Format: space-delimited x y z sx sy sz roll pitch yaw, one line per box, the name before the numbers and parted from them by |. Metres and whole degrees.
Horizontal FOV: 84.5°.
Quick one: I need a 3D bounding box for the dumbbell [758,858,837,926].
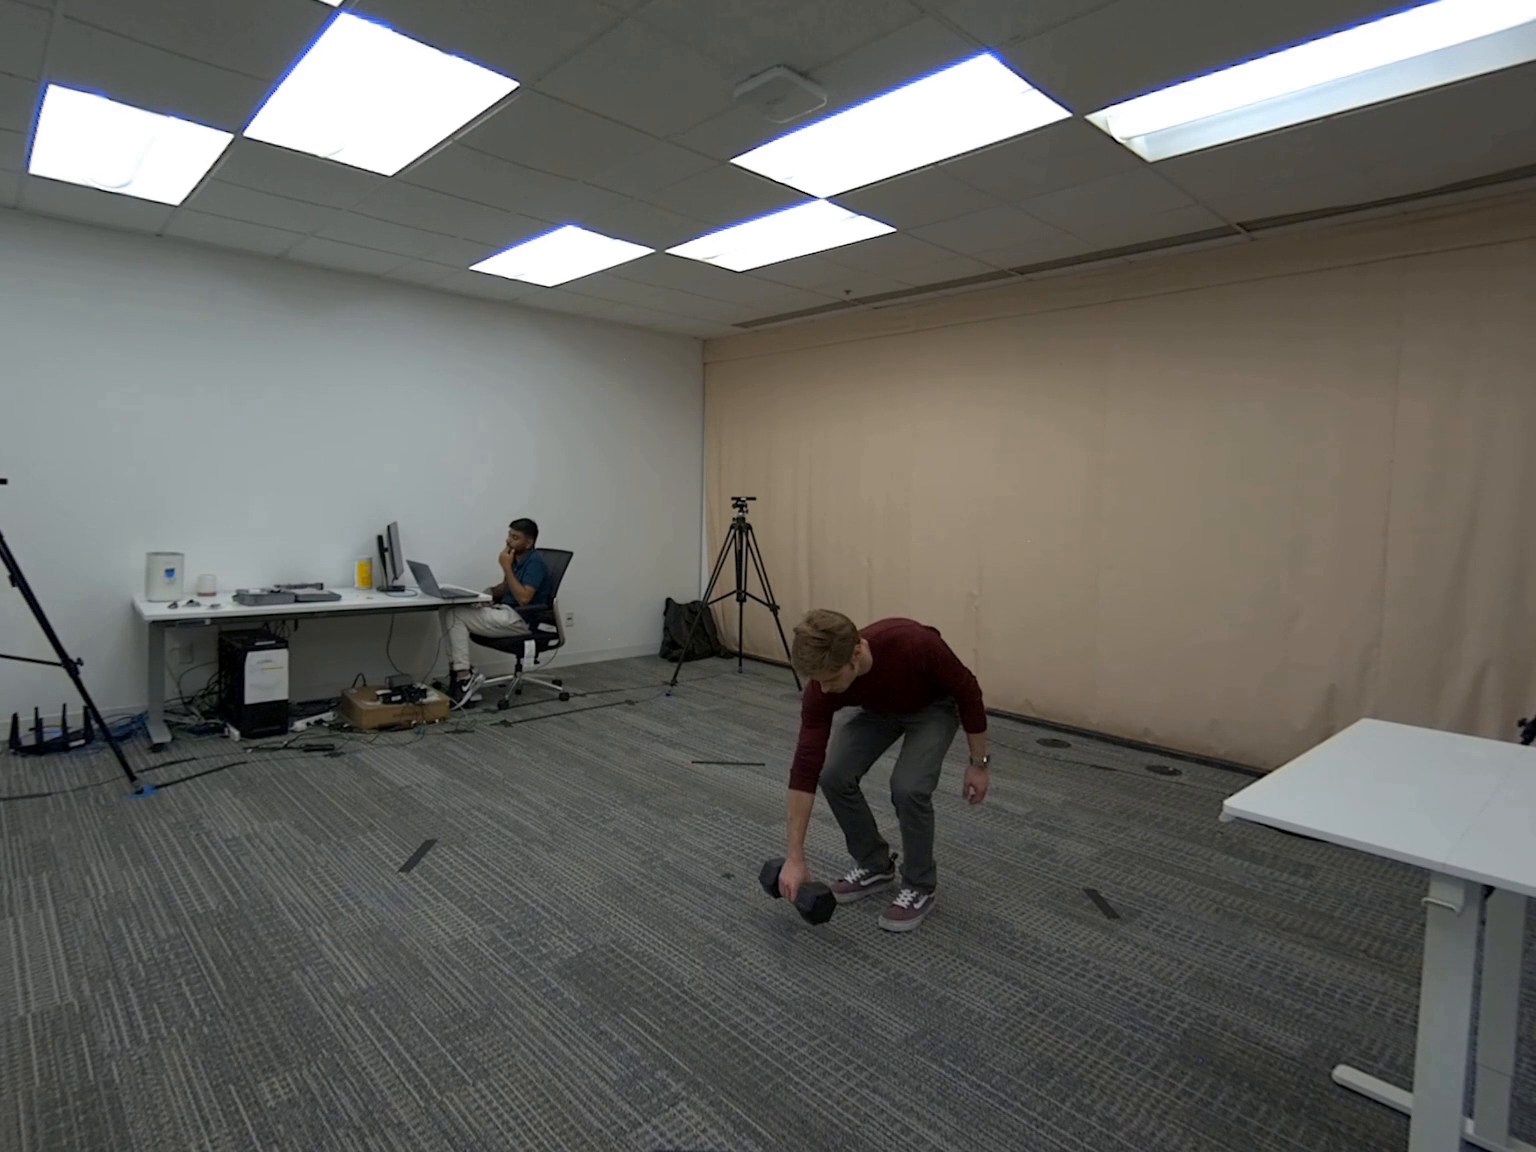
dumbbell | 0.088 1.010 2.698 0.106 0.123 0.300 34 -15 -29
